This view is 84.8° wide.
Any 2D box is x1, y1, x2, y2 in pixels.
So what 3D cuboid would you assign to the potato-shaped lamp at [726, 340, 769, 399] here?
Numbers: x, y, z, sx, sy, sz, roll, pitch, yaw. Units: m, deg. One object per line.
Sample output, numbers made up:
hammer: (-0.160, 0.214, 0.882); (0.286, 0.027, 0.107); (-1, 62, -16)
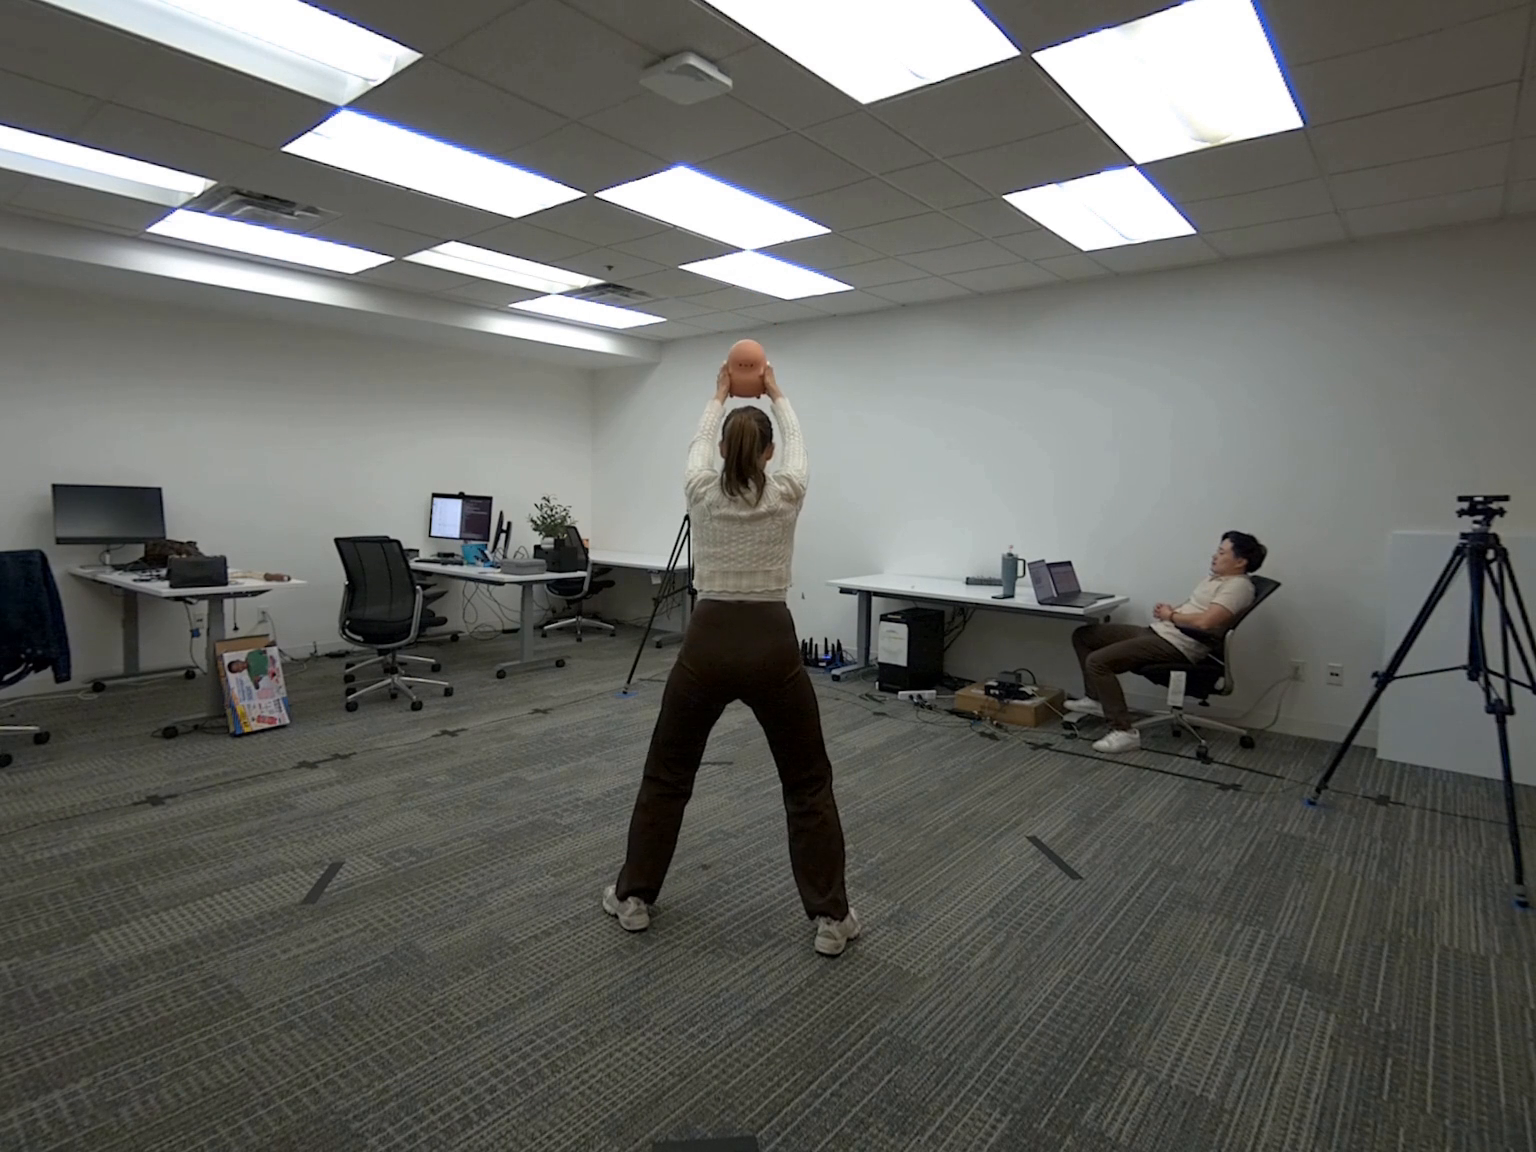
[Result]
potato-shaped lamp: (-0.085, -0.762, 3.142); (0.165, 0.193, 0.175); (7, 41, 0)
